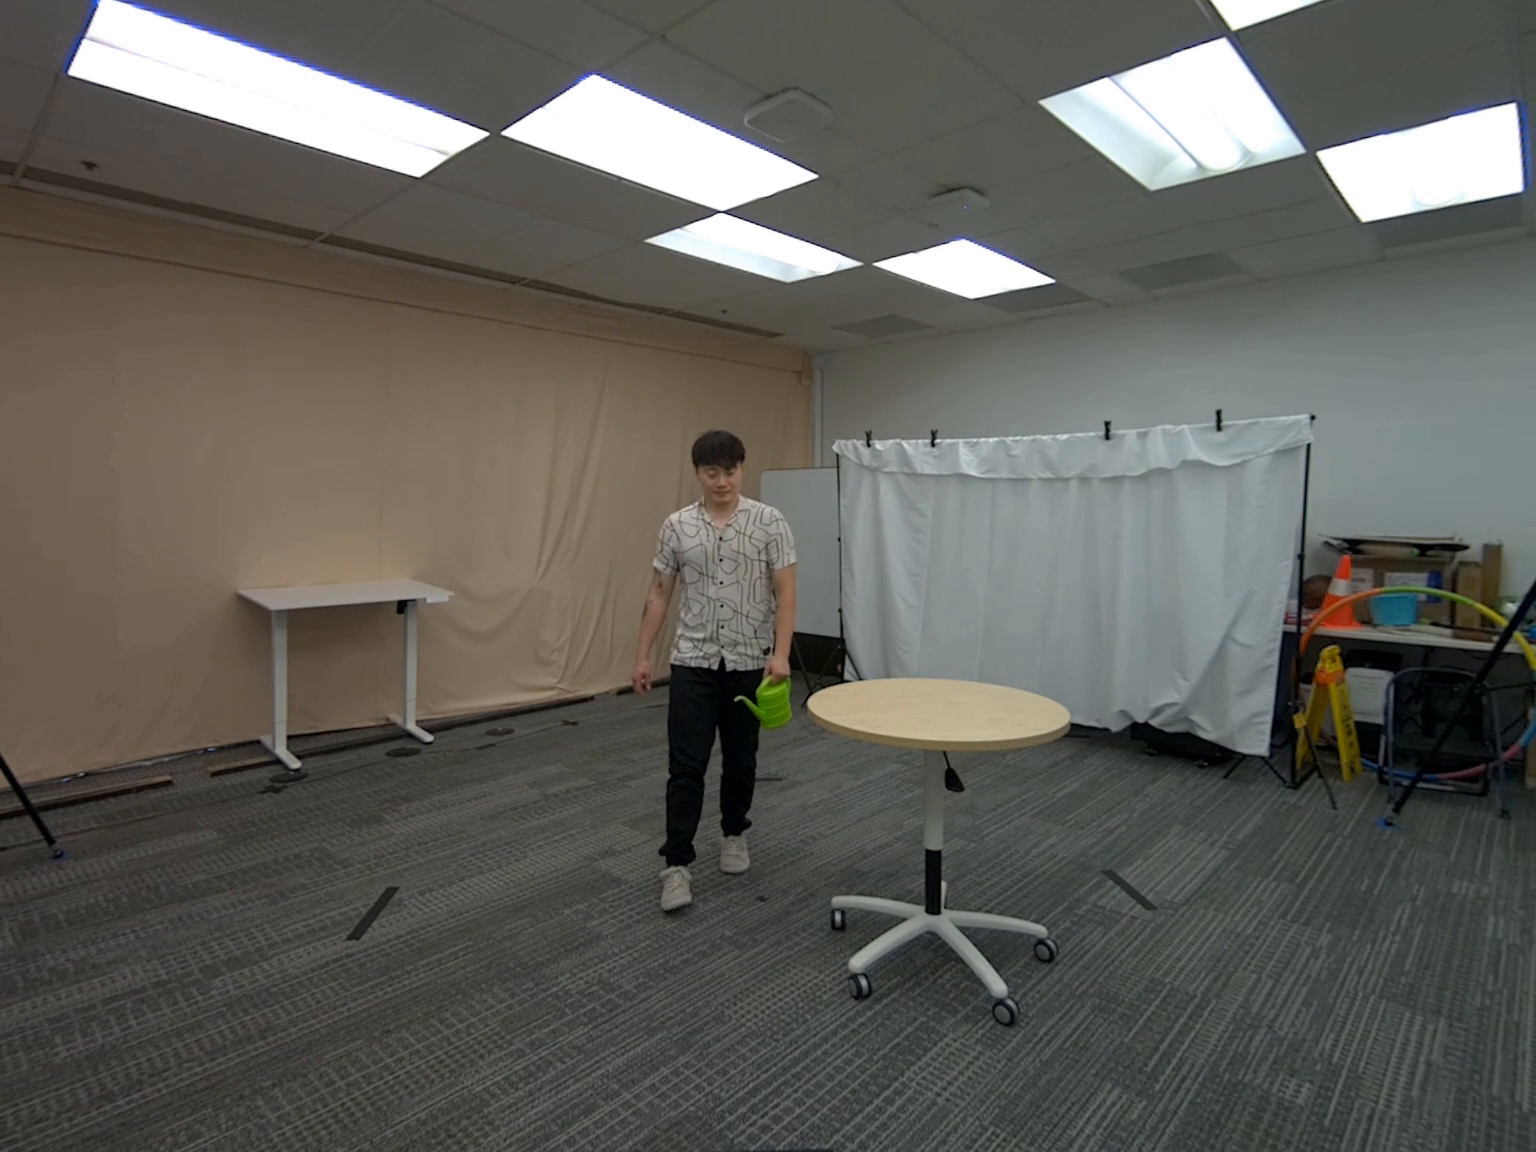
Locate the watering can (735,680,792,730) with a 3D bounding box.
[{"bbox_3d":[-0.019,0.445,2.962,0.272,0.175,0.101,-18,17,-32],"label":"watering can"}]
